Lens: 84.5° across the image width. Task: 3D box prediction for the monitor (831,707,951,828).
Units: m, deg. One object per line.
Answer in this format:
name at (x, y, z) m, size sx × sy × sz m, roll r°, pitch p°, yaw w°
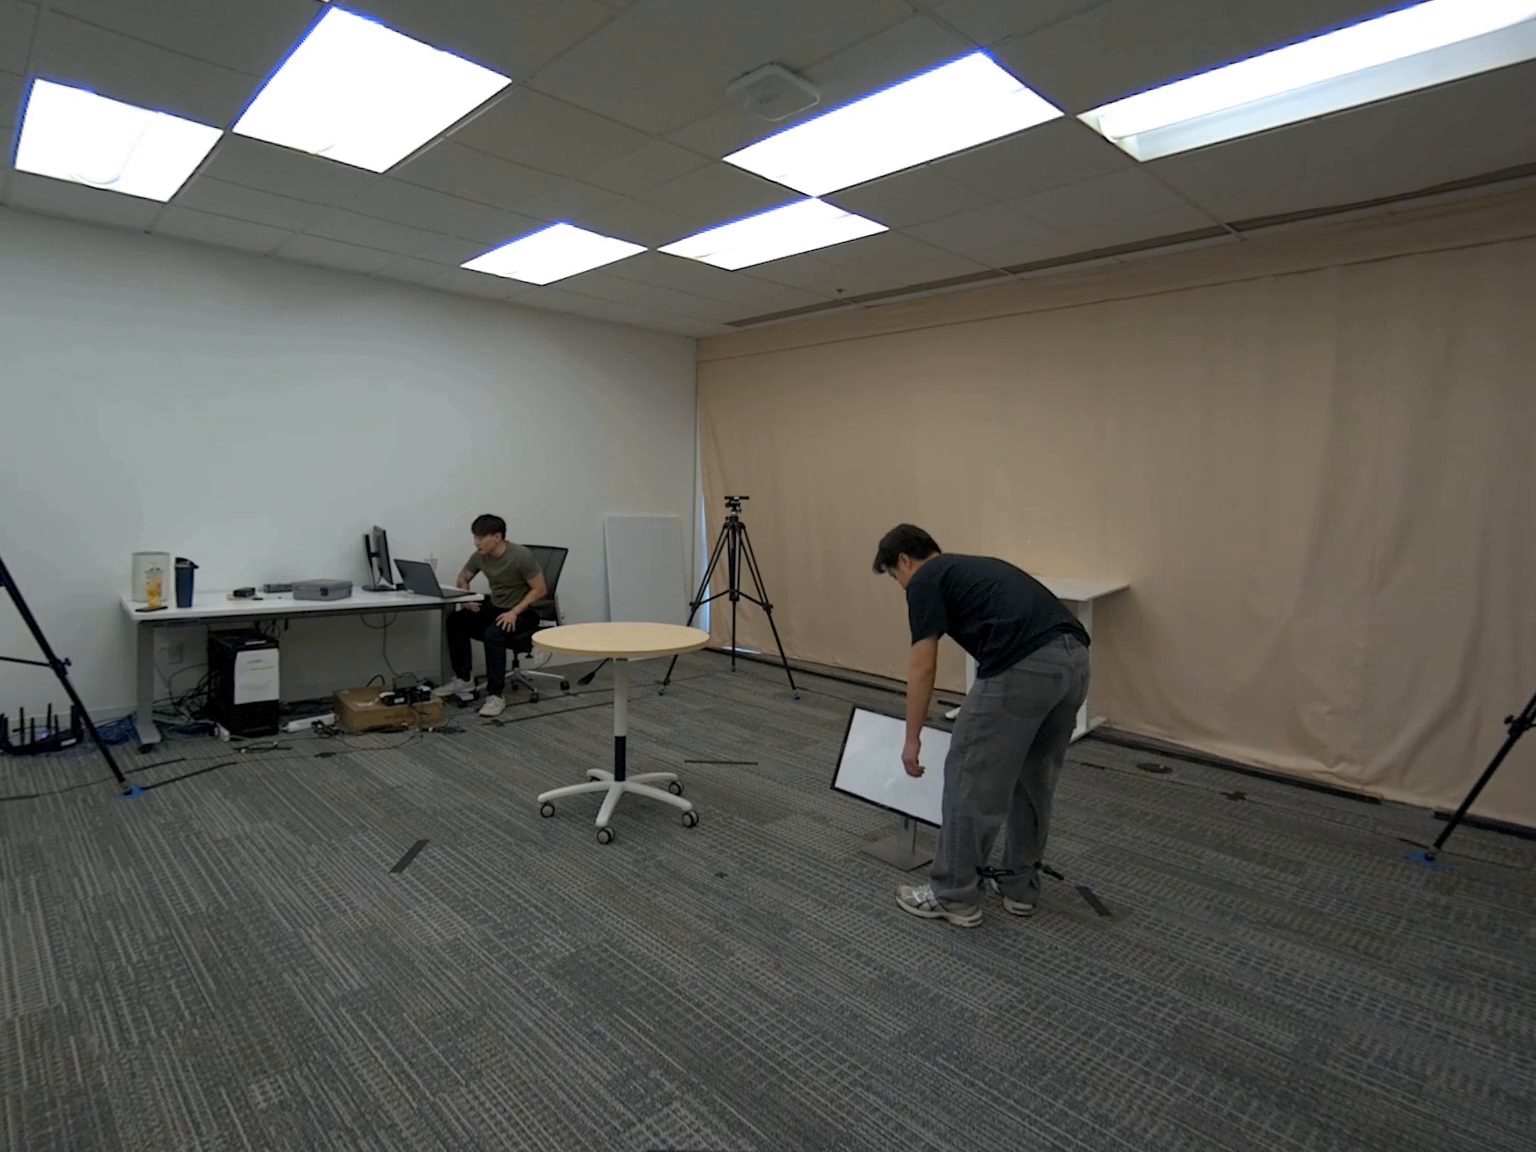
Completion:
monitor at (0.525, 0.841, 3.311) m, size 0.217 × 0.564 × 0.576 m, roll 0°, pitch 5°, yaw -44°
